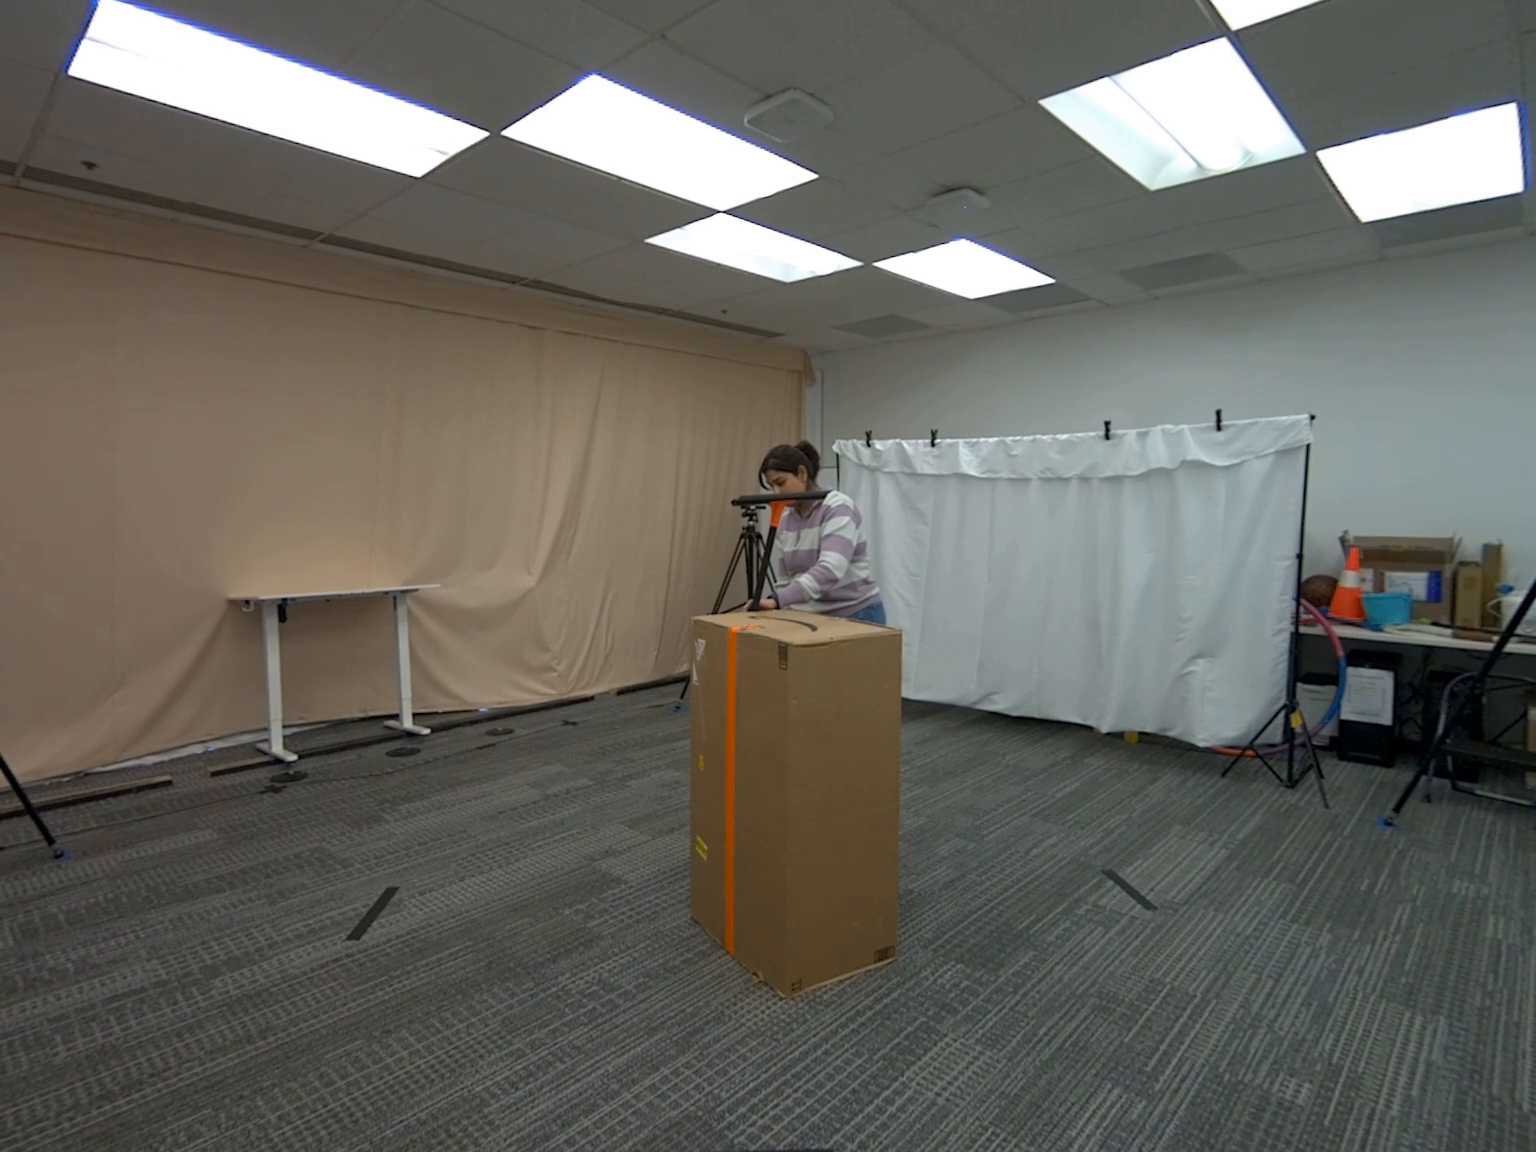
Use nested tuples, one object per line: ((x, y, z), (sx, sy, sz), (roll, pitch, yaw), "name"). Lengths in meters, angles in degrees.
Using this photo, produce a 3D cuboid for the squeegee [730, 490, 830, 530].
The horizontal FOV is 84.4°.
((-0.132, 0.410, 3.060), (0.424, 1.527, 0.055), (-5, 28, -44), "squeegee")
